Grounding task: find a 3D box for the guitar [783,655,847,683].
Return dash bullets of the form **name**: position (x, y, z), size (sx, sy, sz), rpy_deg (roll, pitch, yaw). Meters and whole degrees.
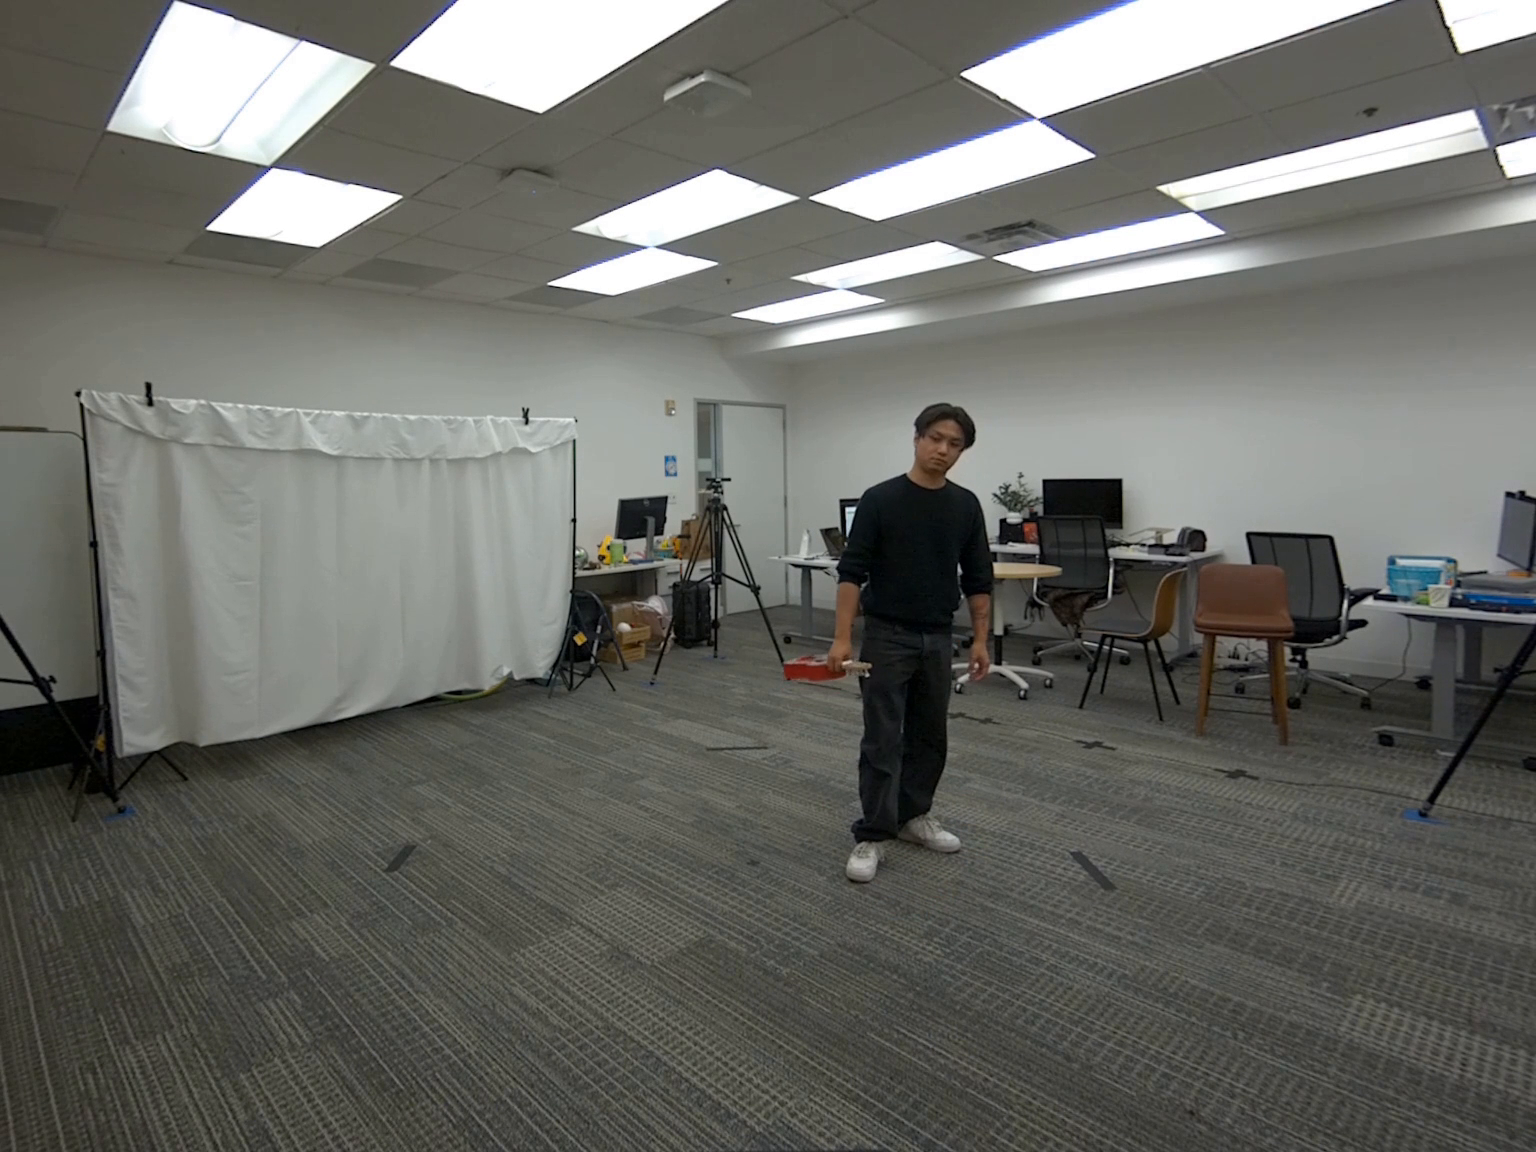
- **guitar**: position (0.210, 0.345, 3.116), size (0.191, 0.071, 0.504), rpy_deg (-8, 2, -16)
